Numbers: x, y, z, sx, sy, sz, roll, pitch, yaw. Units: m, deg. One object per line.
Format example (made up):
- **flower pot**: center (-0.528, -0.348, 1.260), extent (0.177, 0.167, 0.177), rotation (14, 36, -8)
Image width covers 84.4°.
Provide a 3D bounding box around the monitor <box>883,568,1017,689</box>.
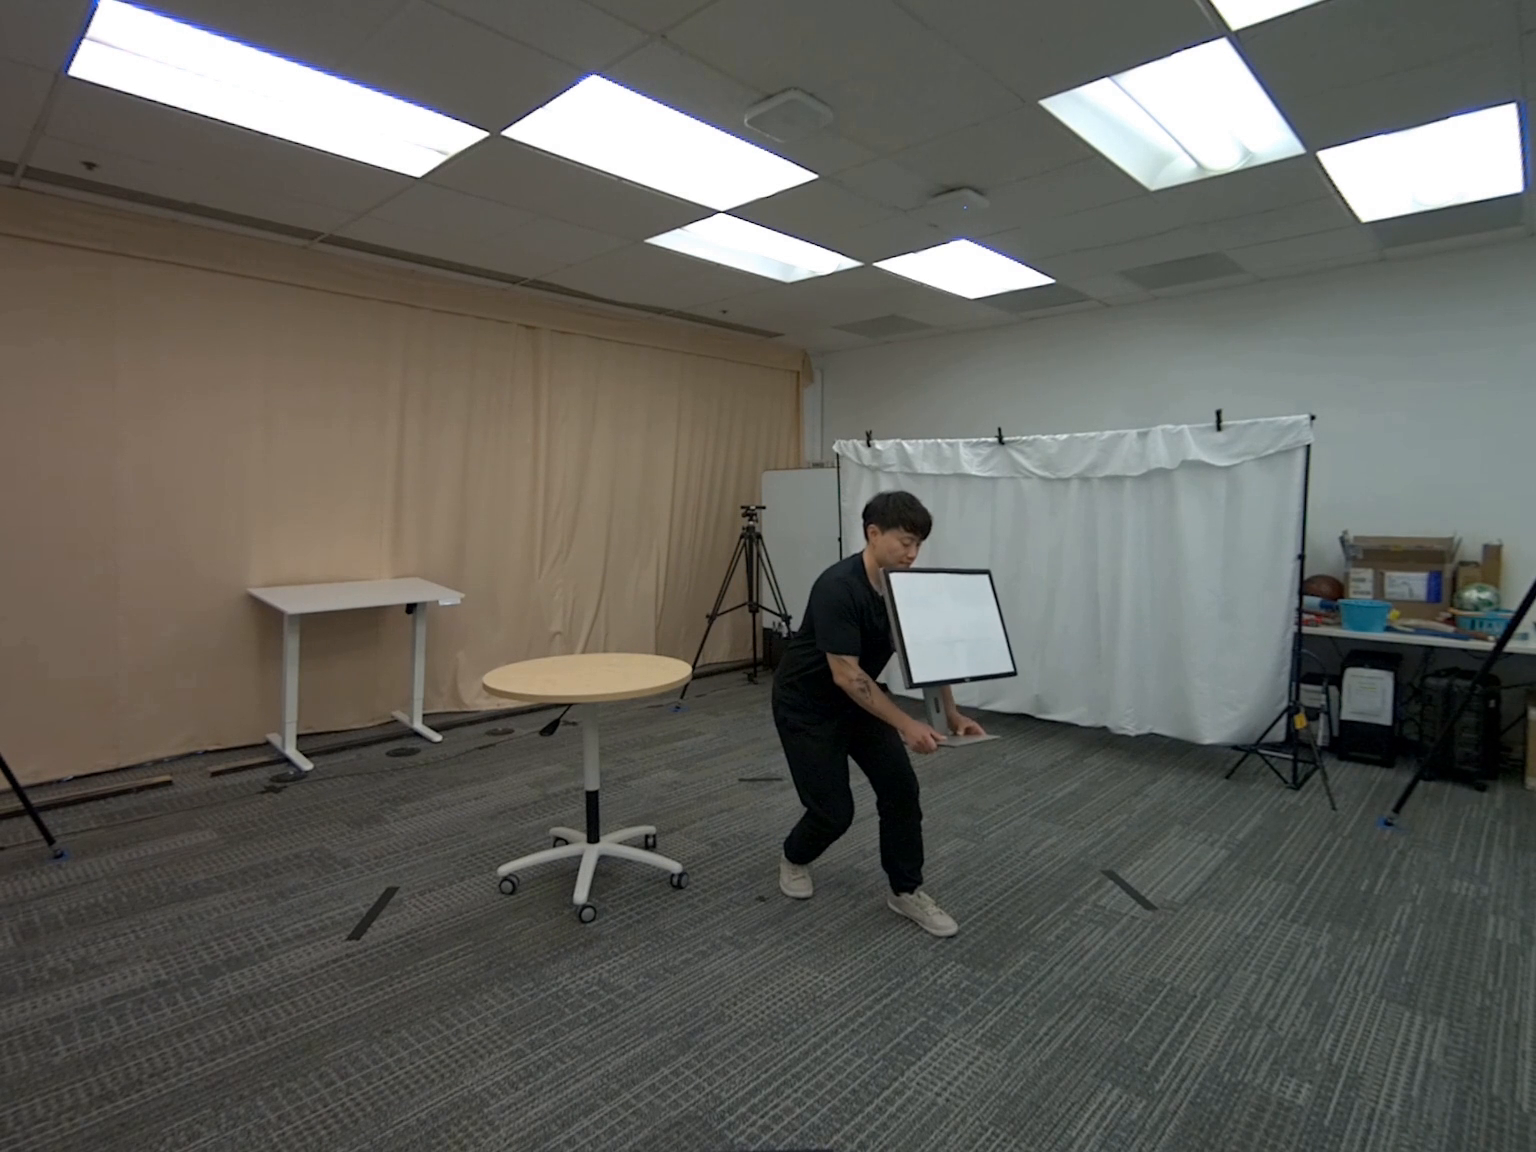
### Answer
- **monitor**: center (0.561, 0.247, 2.643), extent (0.522, 0.524, 0.192), rotation (1, -6, -43)
